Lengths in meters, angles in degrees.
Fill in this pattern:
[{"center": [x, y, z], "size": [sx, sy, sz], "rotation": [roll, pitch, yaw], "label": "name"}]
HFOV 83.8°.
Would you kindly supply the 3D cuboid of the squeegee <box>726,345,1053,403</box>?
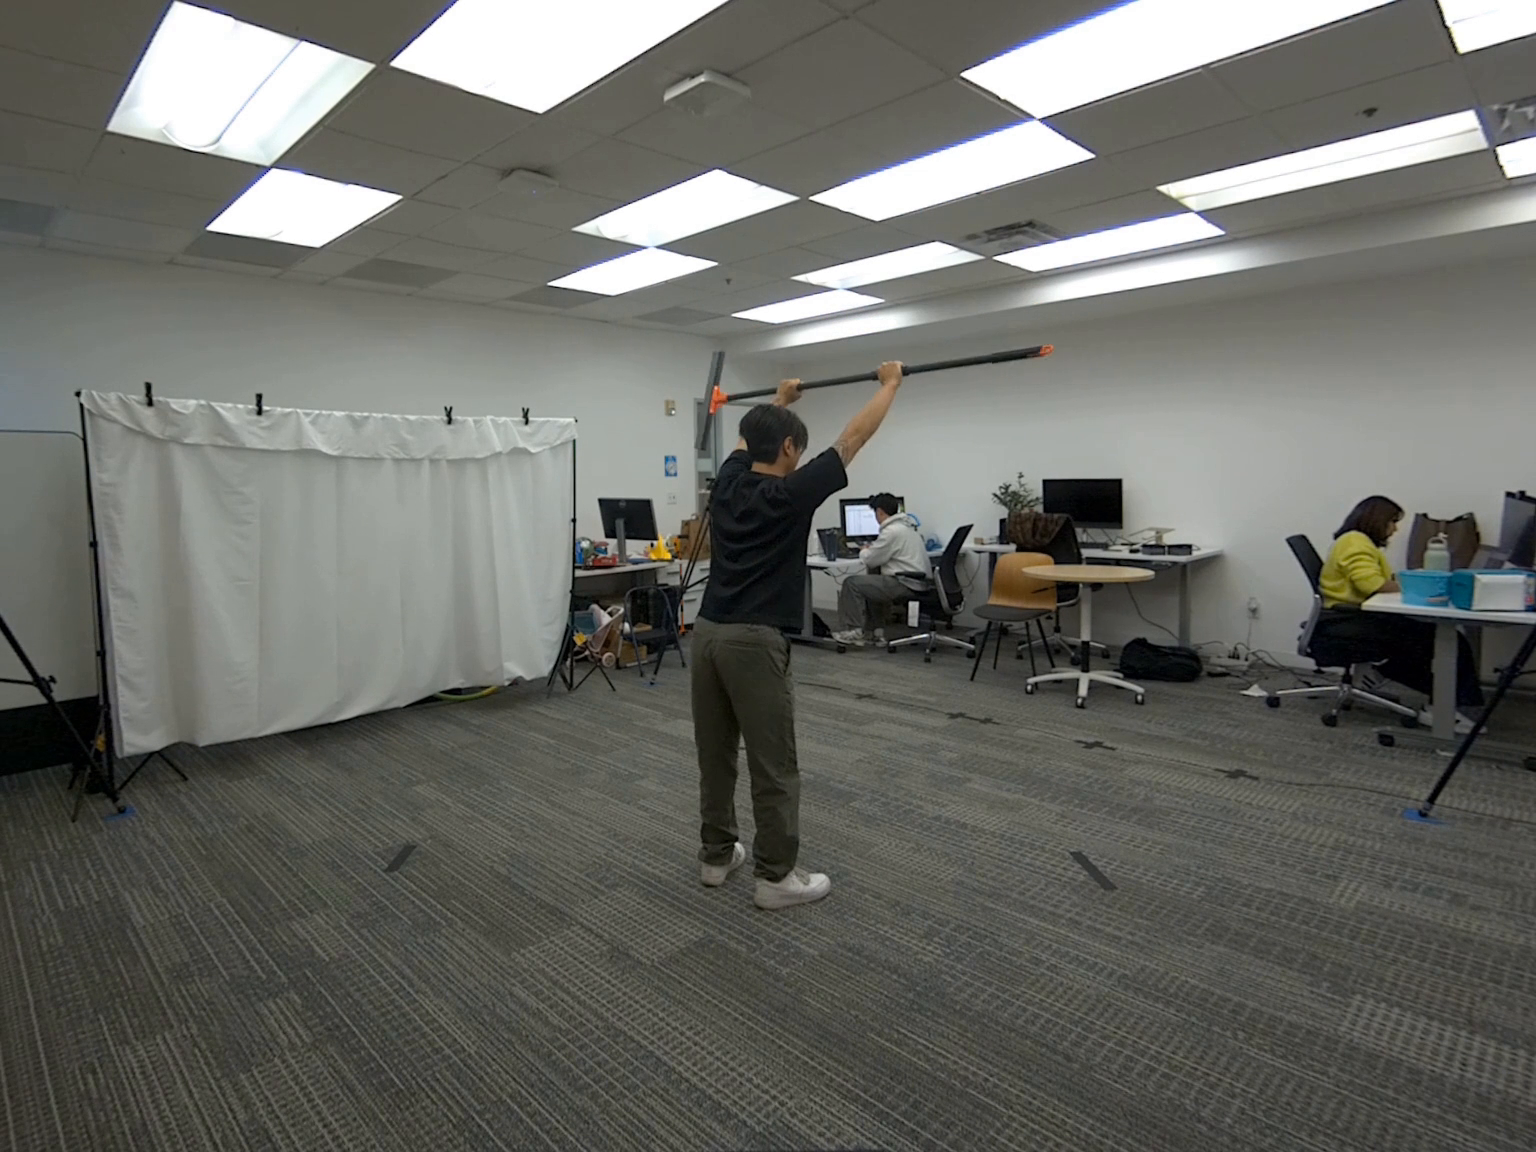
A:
[{"center": [0.282, -0.684, 3.052], "size": [0.051, 0.439, 1.585], "rotation": [17, -8, -42], "label": "squeegee"}]
